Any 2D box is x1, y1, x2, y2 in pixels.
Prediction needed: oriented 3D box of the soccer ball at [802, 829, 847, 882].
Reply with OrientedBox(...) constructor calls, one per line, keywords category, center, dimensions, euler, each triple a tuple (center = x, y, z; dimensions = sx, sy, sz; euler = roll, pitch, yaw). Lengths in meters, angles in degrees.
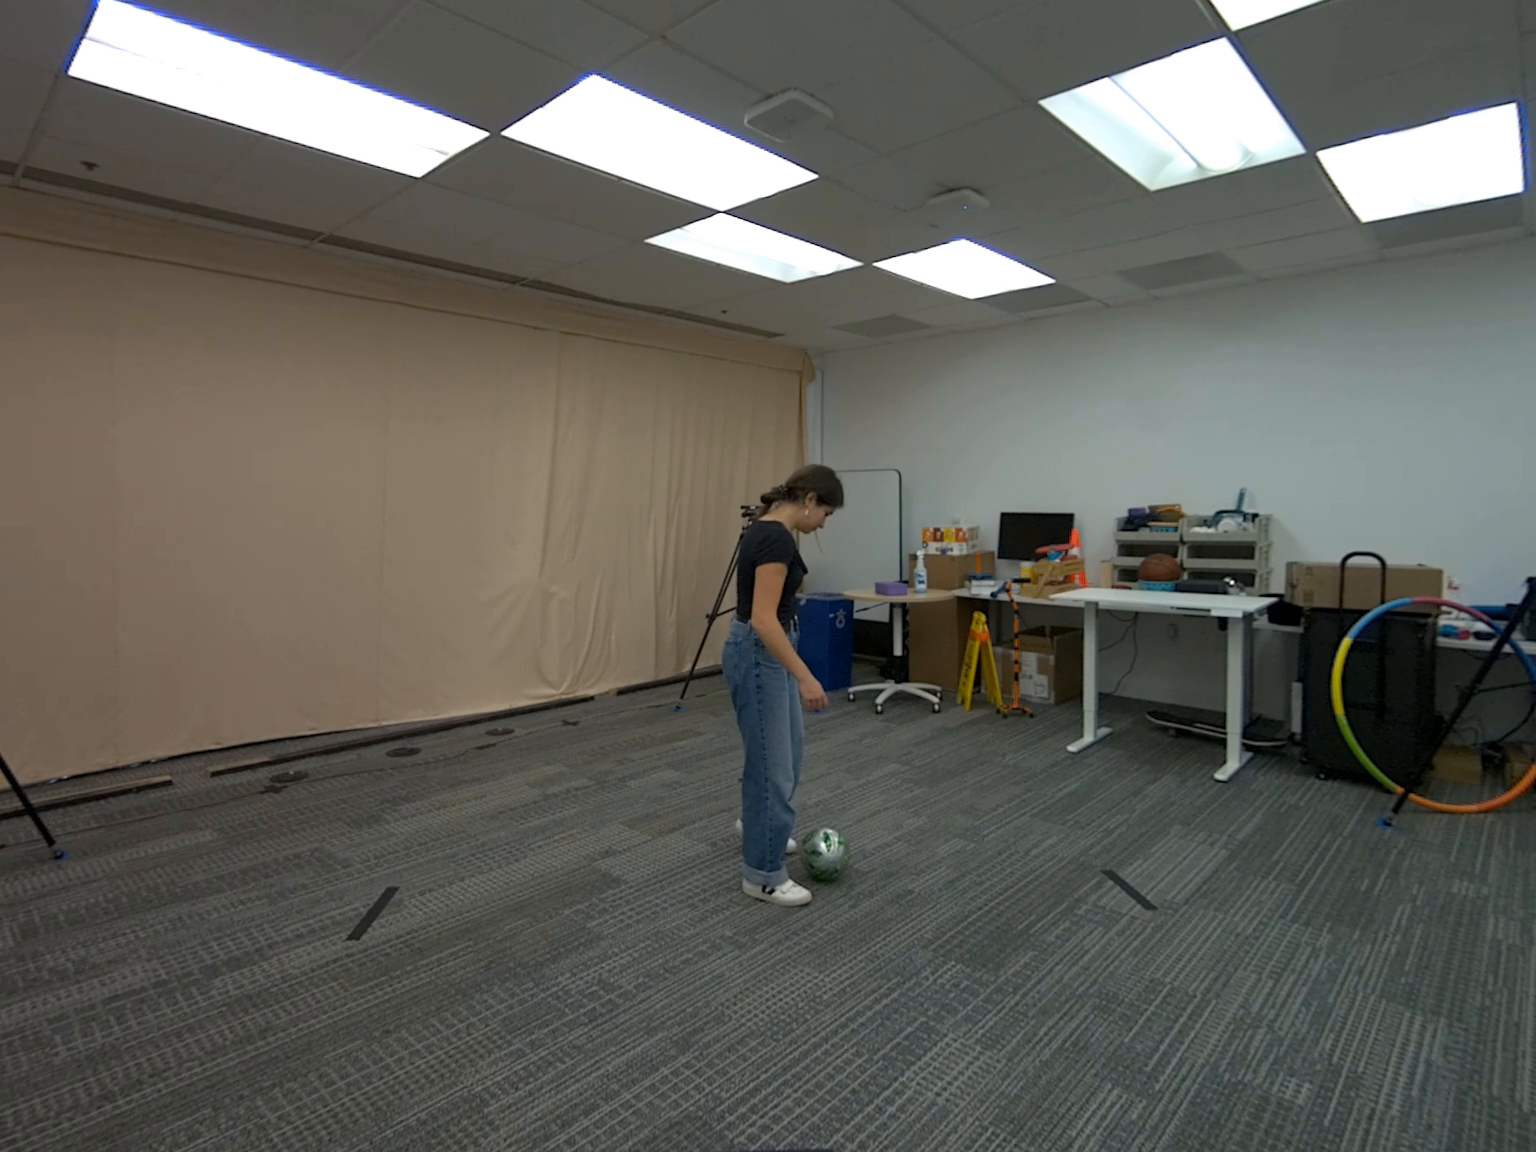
OrientedBox(category="soccer ball", center=(0.221, 1.036, 3.133), dimensions=(0.187, 0.187, 0.188), euler=(0, 4, -2))
